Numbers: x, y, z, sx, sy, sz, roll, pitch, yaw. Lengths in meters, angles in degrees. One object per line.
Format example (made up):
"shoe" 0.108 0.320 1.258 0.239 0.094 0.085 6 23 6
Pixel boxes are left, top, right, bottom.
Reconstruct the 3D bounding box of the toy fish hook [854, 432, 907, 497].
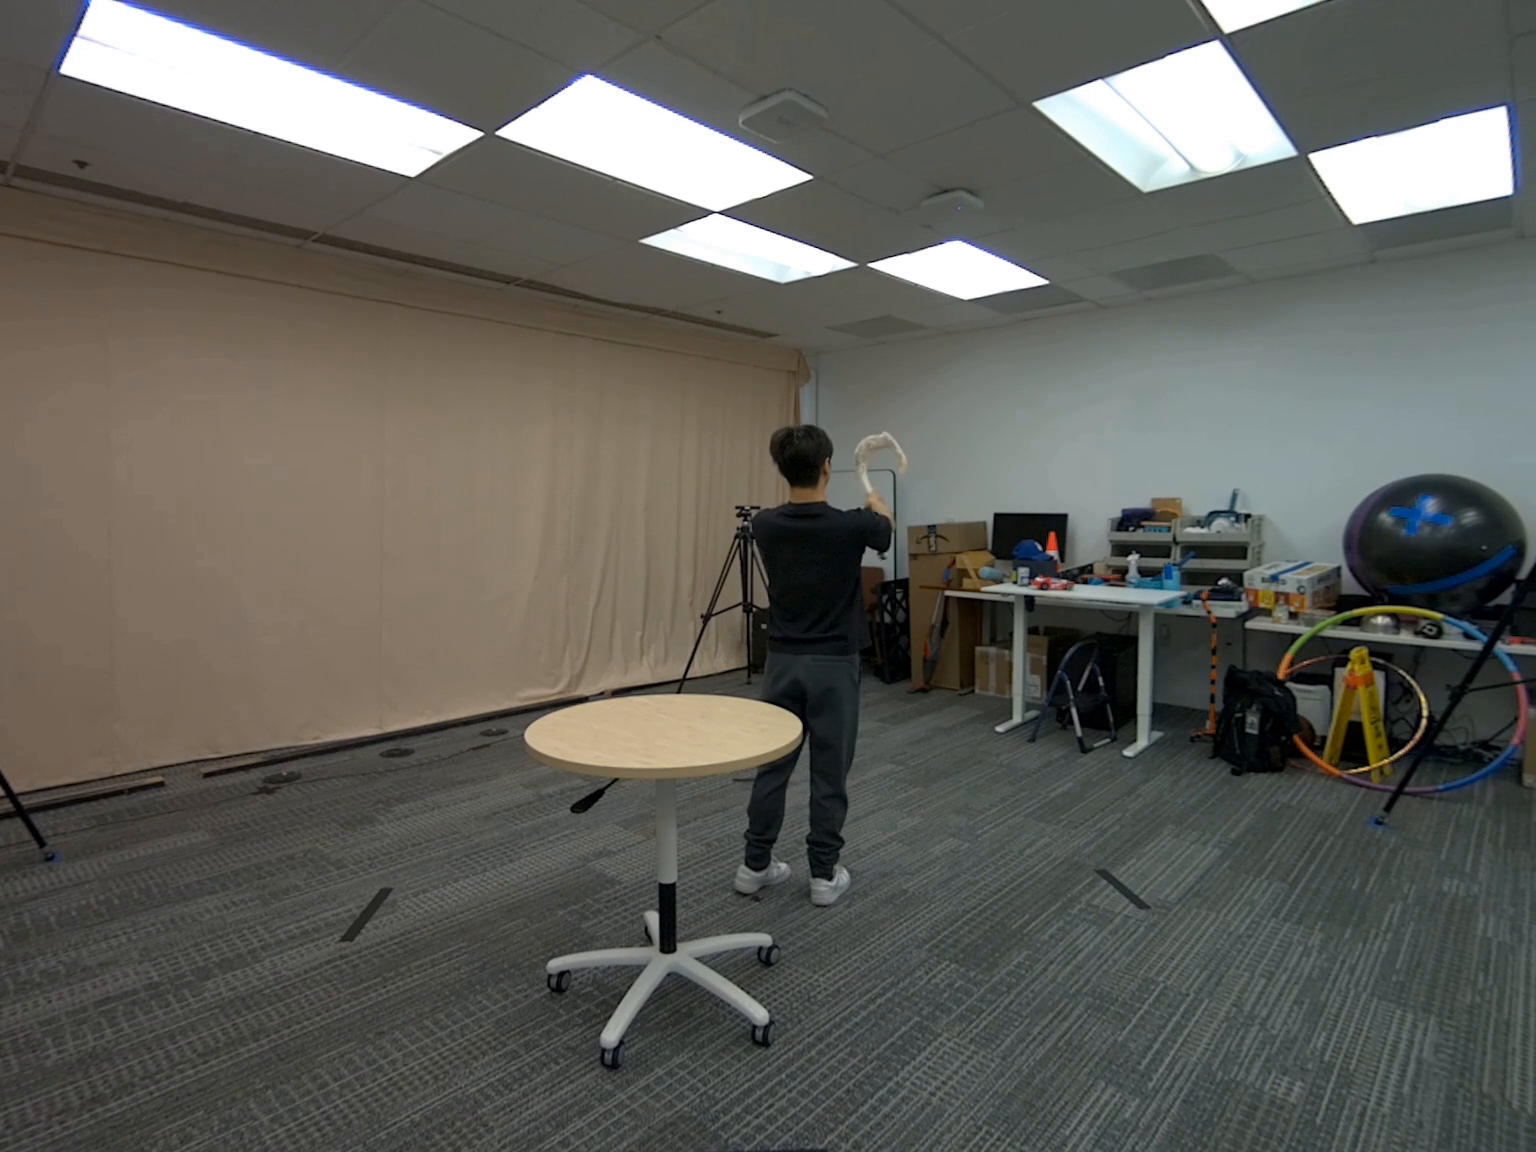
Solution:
"toy fish hook" 0.470 -0.325 3.390 0.231 0.509 0.047 -13 -7 39
